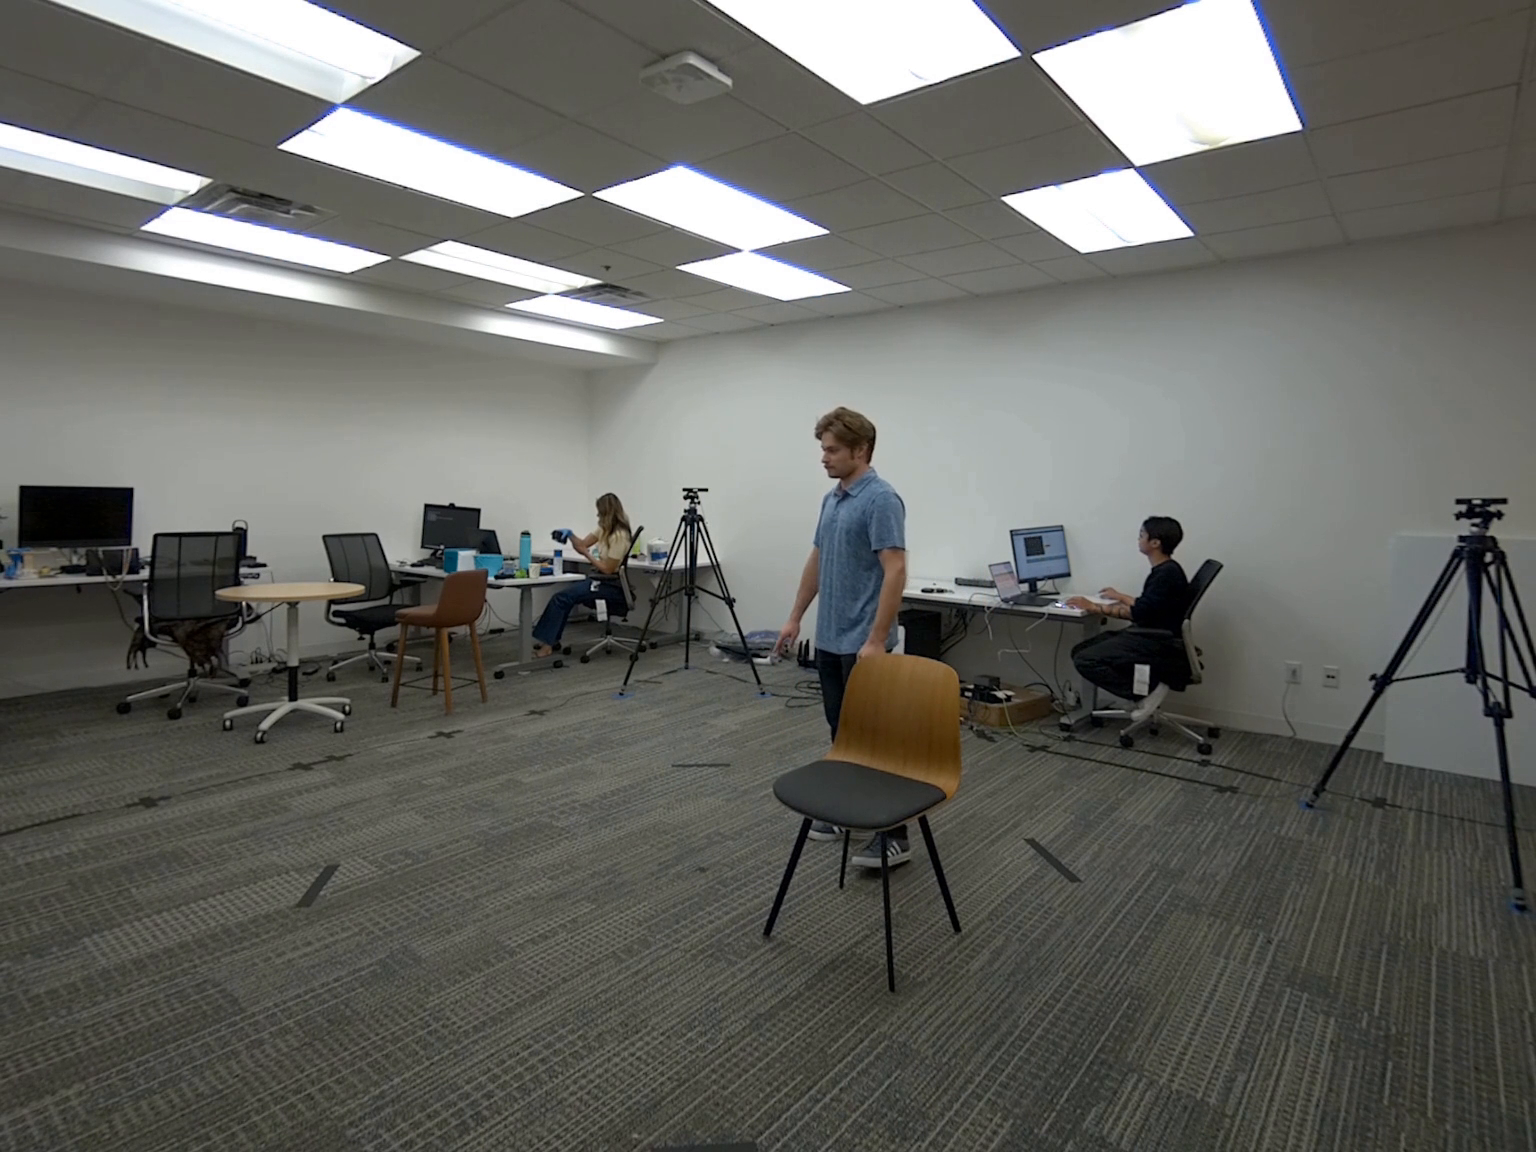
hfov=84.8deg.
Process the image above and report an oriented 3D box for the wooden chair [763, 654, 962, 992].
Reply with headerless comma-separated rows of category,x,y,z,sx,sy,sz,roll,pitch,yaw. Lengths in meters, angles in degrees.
wooden chair,0.300,0.695,2.649,0.494,0.877,0.506,5,0,38
